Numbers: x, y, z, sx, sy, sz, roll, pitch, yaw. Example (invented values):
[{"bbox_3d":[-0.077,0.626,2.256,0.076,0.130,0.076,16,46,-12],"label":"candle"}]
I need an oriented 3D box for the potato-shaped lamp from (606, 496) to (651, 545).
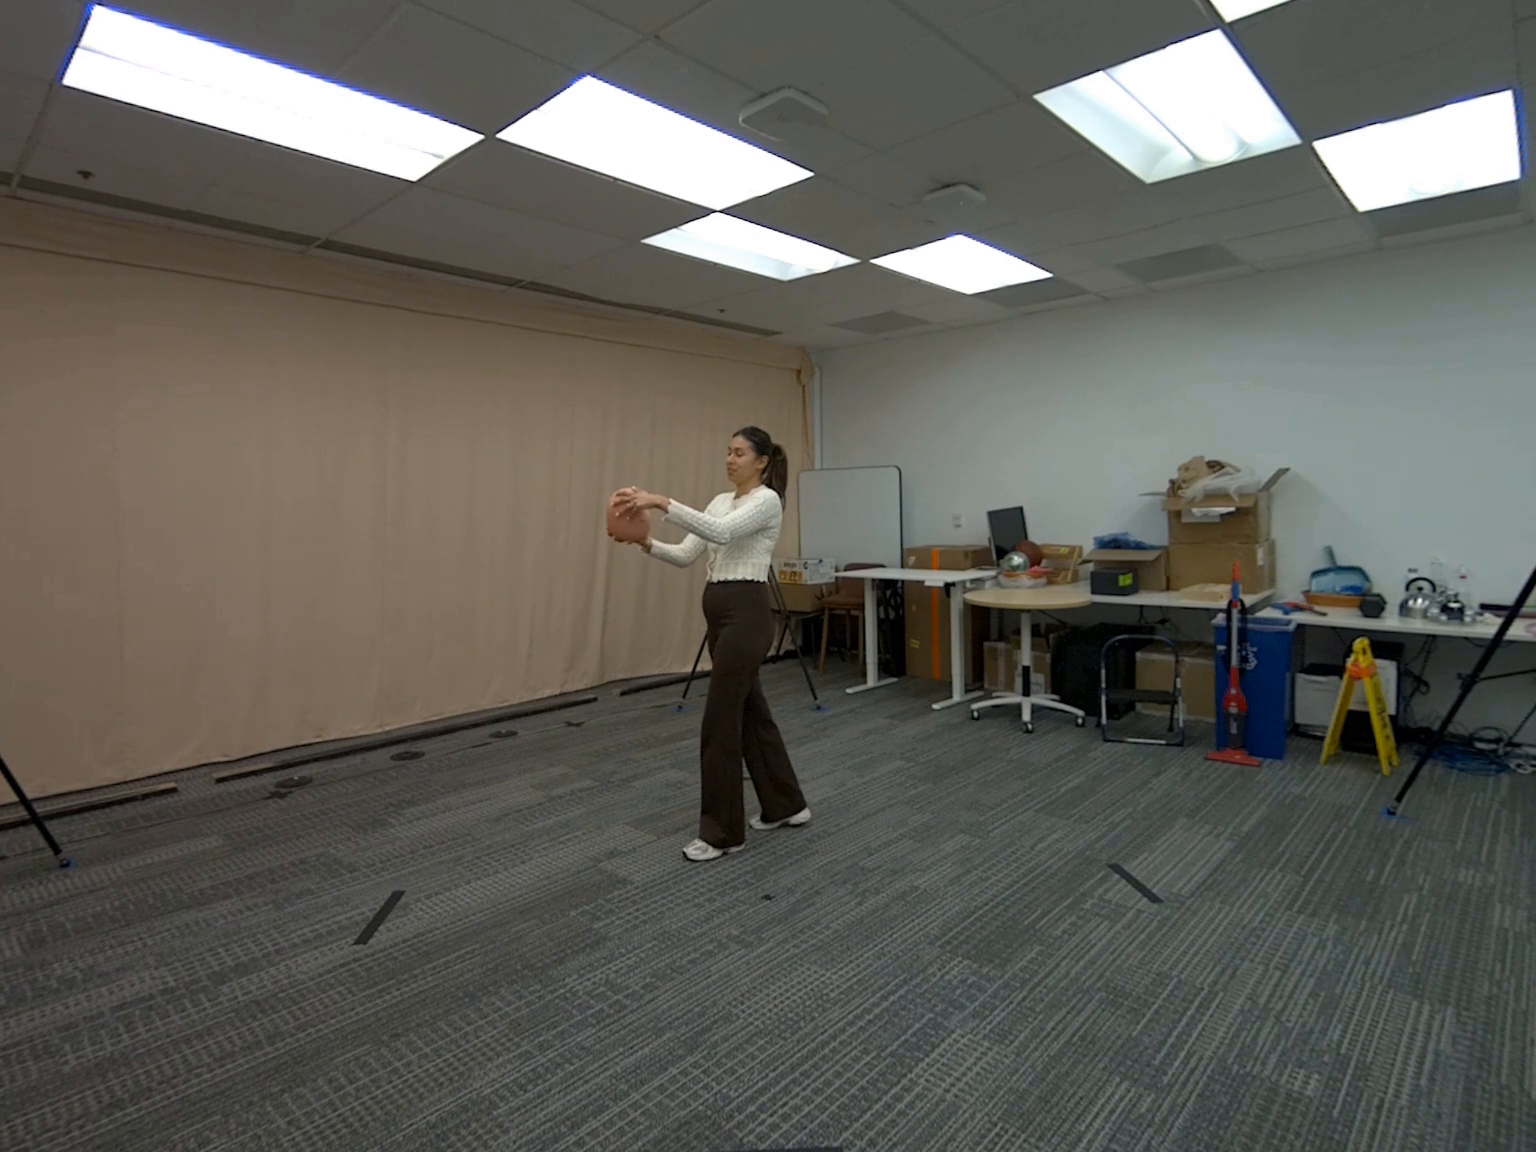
[{"bbox_3d":[-0.527,-0.239,3.209,0.170,0.195,0.168,1,37,-6],"label":"potato-shaped lamp"}]
